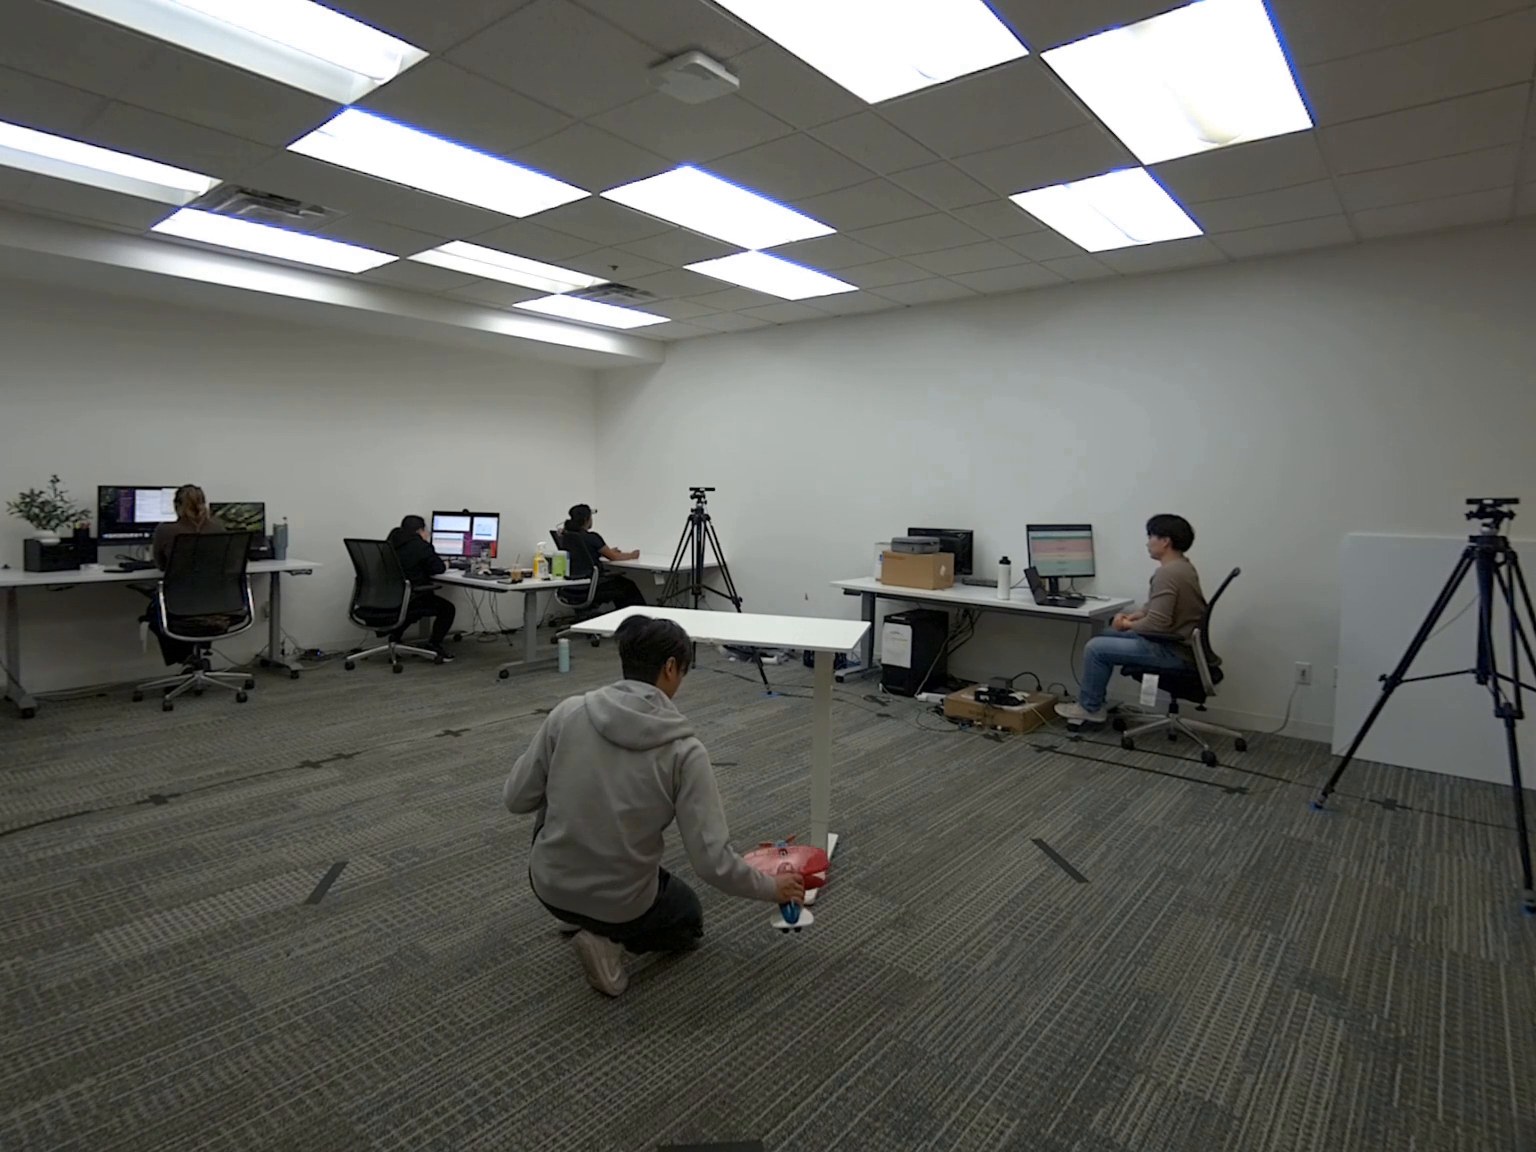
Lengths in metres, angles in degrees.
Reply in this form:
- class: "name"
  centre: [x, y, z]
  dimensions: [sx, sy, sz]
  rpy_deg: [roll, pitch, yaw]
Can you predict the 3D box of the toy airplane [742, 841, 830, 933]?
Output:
- class: "toy airplane"
  centre: [0.066, 0.889, 2.454]
  dimensions: [0.246, 0.153, 0.269]
  rpy_deg: [-19, 26, -31]
